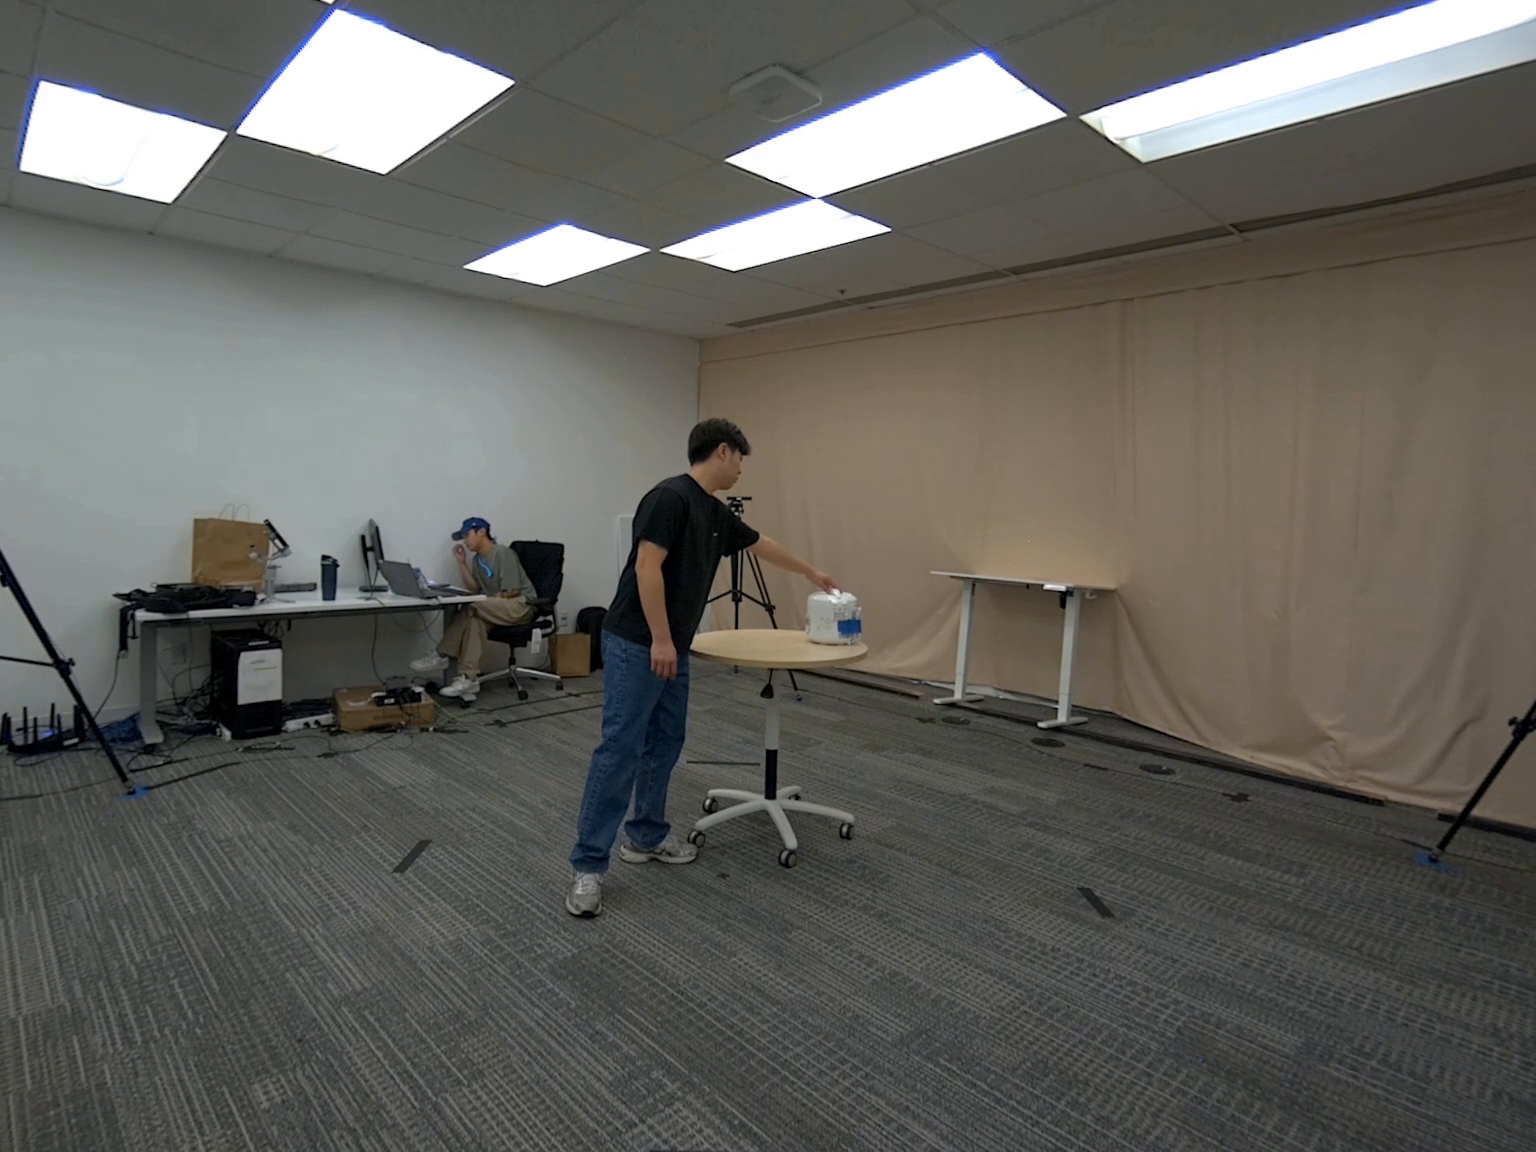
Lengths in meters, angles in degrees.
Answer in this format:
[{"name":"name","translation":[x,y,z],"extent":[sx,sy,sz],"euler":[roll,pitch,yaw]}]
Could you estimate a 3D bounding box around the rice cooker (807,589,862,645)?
[{"name":"rice cooker","translation":[0.266,0.166,3.575],"extent":[0.215,0.232,0.223],"euler":[2,3,-12]}]
